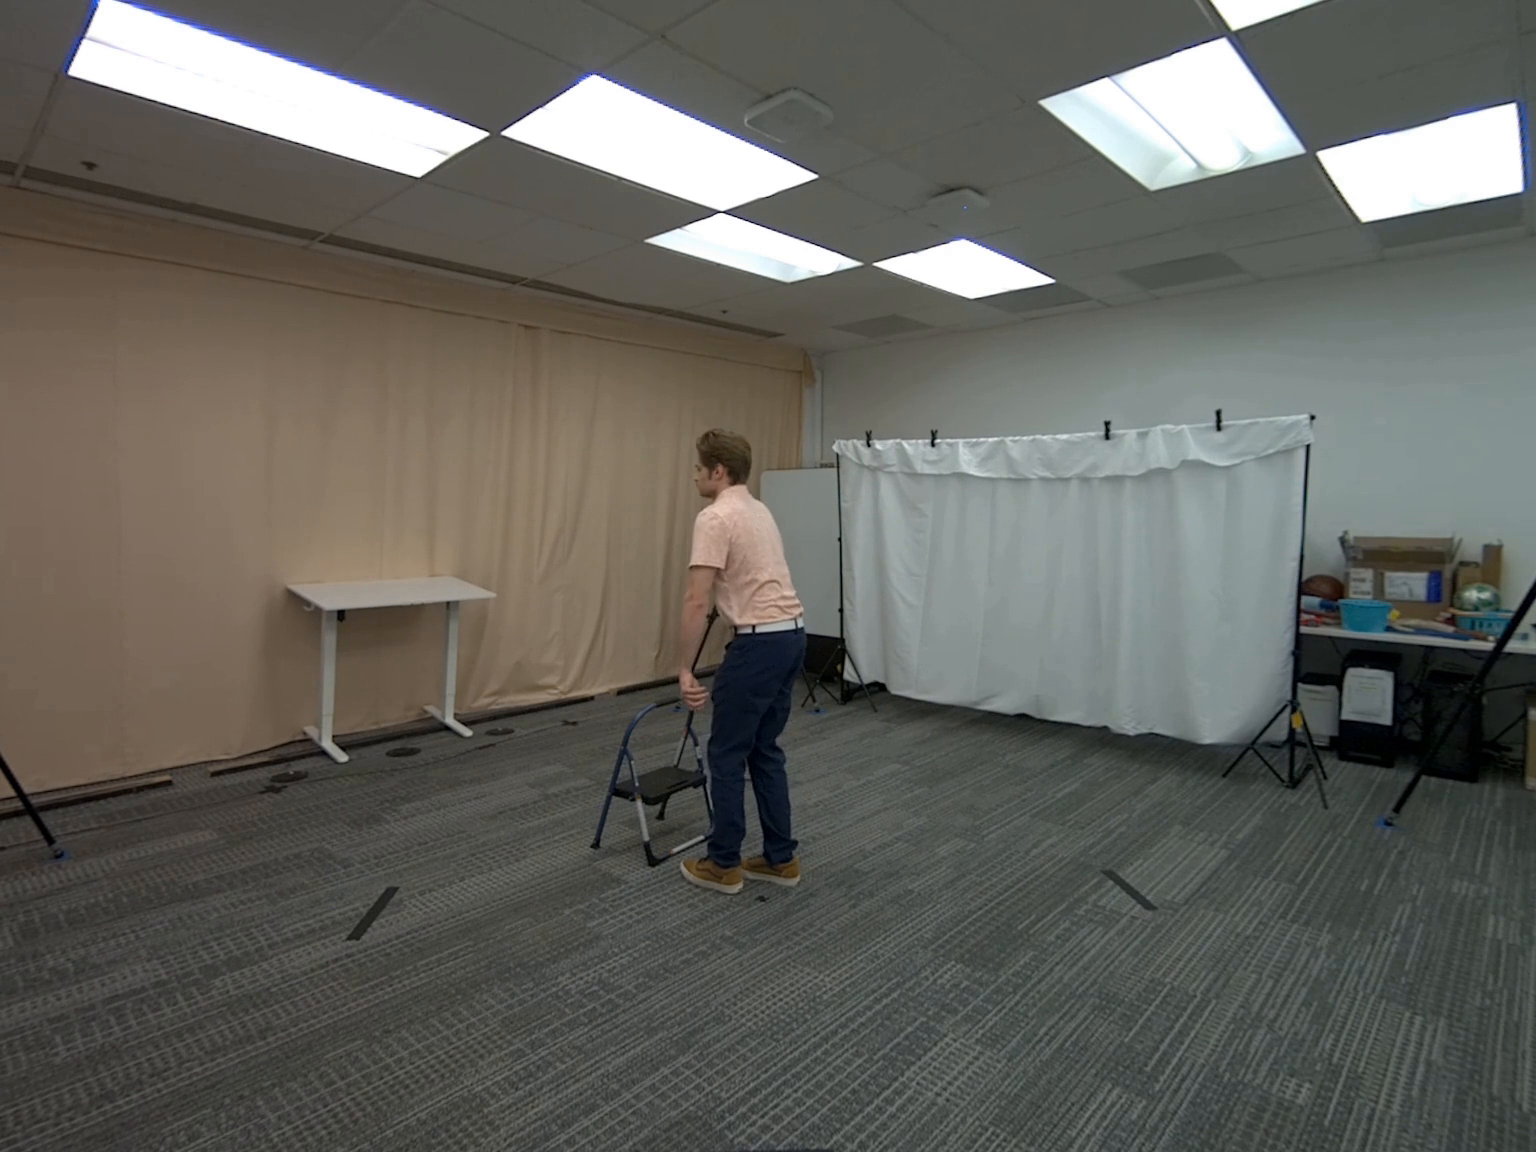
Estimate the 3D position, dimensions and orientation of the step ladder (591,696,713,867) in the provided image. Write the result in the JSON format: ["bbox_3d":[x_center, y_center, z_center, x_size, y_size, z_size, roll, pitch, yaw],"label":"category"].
[{"bbox_3d":[-0.473,0.802,3.497,0.360,0.605,0.418,1,4,36],"label":"step ladder"}]
